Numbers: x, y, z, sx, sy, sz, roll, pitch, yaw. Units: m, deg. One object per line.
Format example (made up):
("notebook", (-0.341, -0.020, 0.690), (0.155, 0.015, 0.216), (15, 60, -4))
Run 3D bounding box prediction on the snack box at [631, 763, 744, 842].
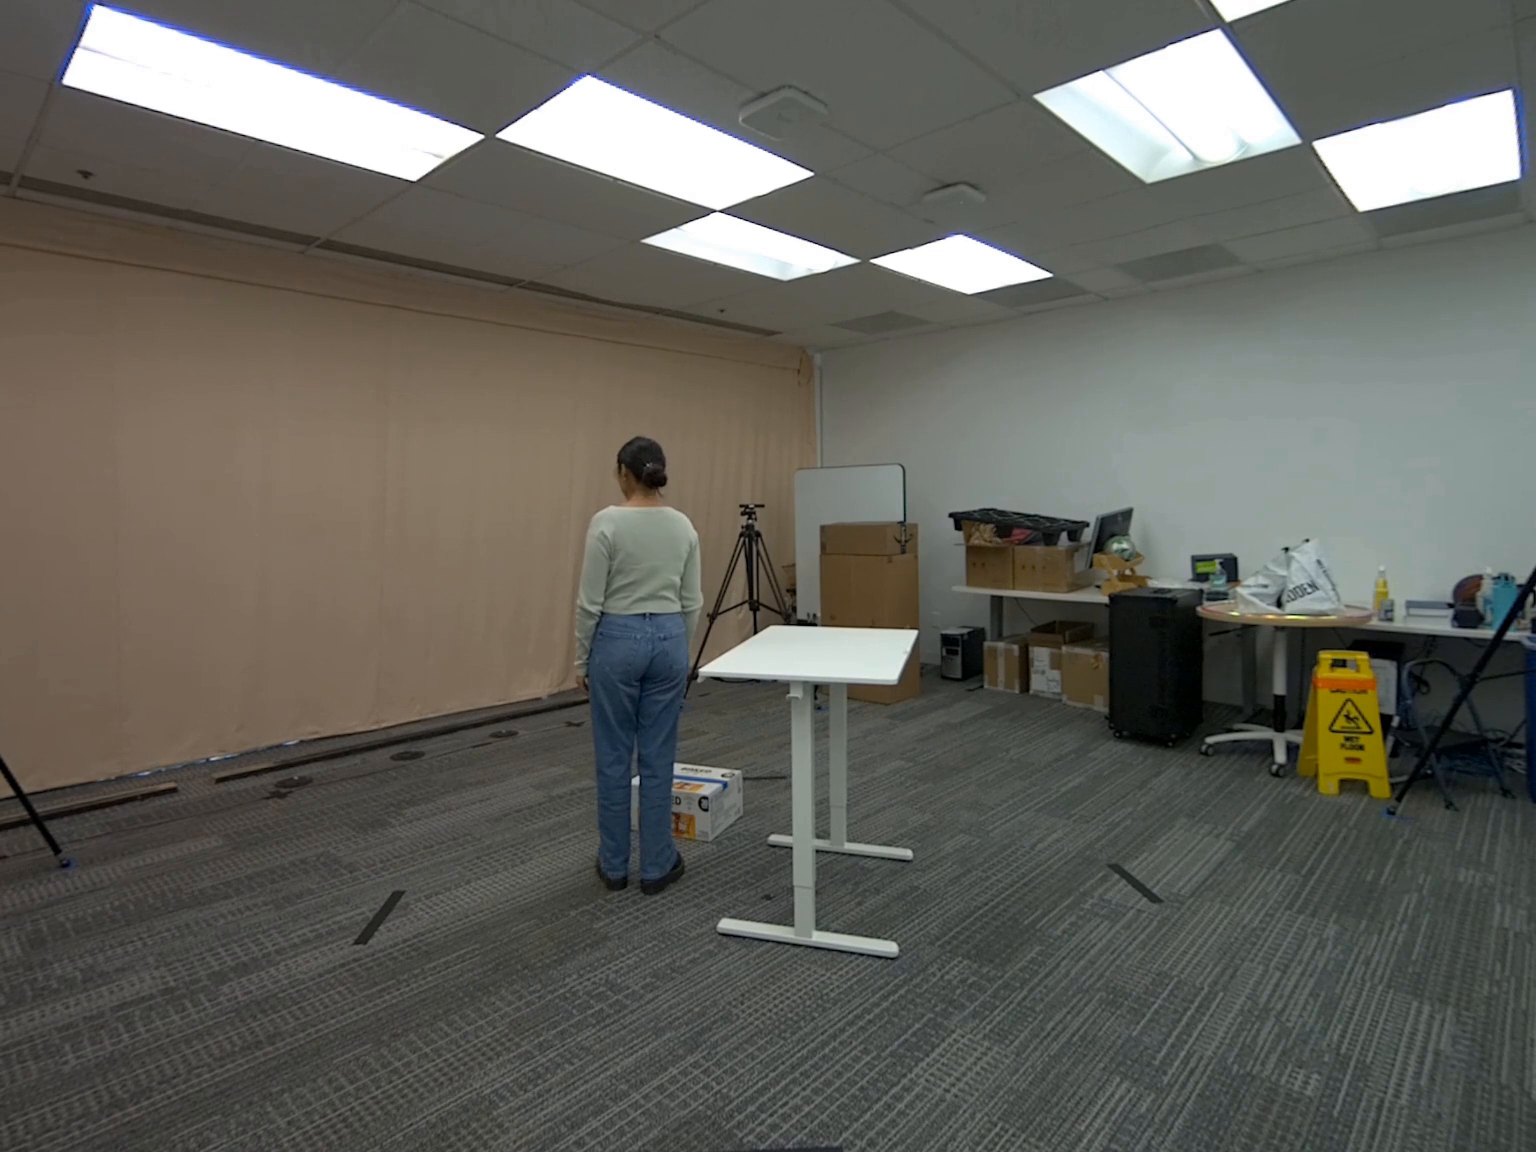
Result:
("snack box", (-0.364, 0.984, 3.707), (0.415, 0.205, 0.333), (1, 5, 24))
